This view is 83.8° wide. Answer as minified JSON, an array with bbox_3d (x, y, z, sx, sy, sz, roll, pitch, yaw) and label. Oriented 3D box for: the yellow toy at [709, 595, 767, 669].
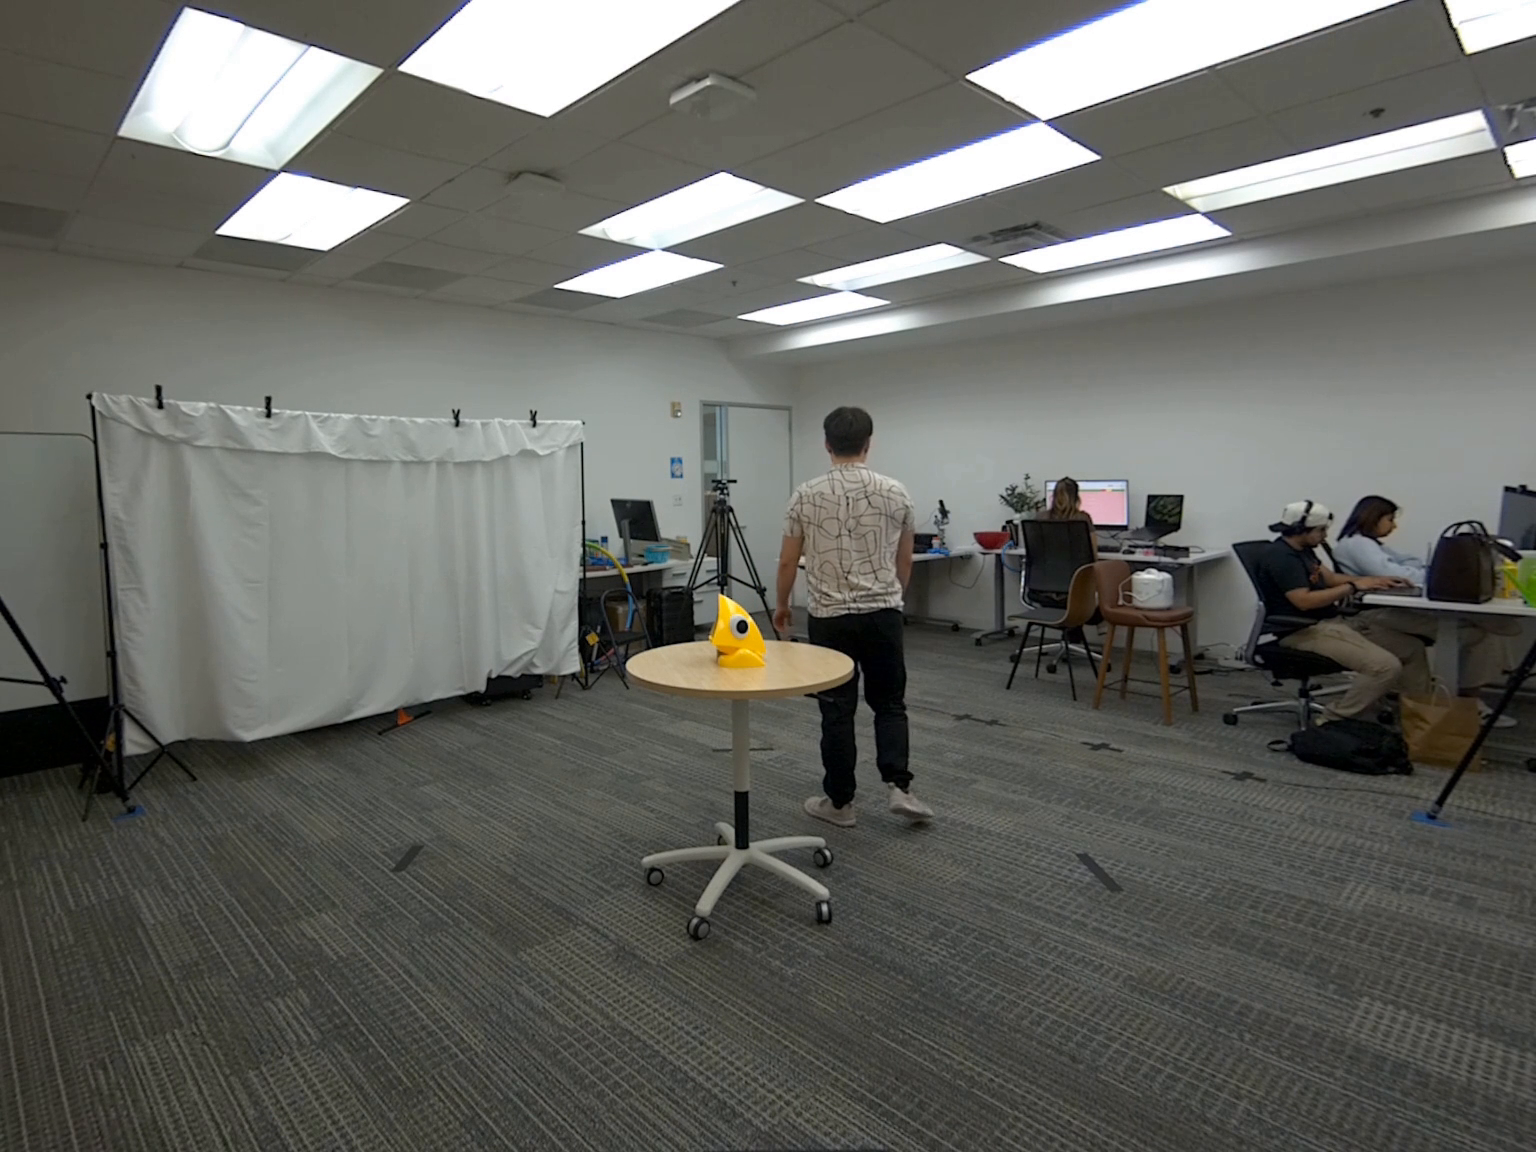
[{"bbox_3d":[-0.099,0.176,2.888,0.193,0.230,0.206,-1,5,-3],"label":"yellow toy"}]
